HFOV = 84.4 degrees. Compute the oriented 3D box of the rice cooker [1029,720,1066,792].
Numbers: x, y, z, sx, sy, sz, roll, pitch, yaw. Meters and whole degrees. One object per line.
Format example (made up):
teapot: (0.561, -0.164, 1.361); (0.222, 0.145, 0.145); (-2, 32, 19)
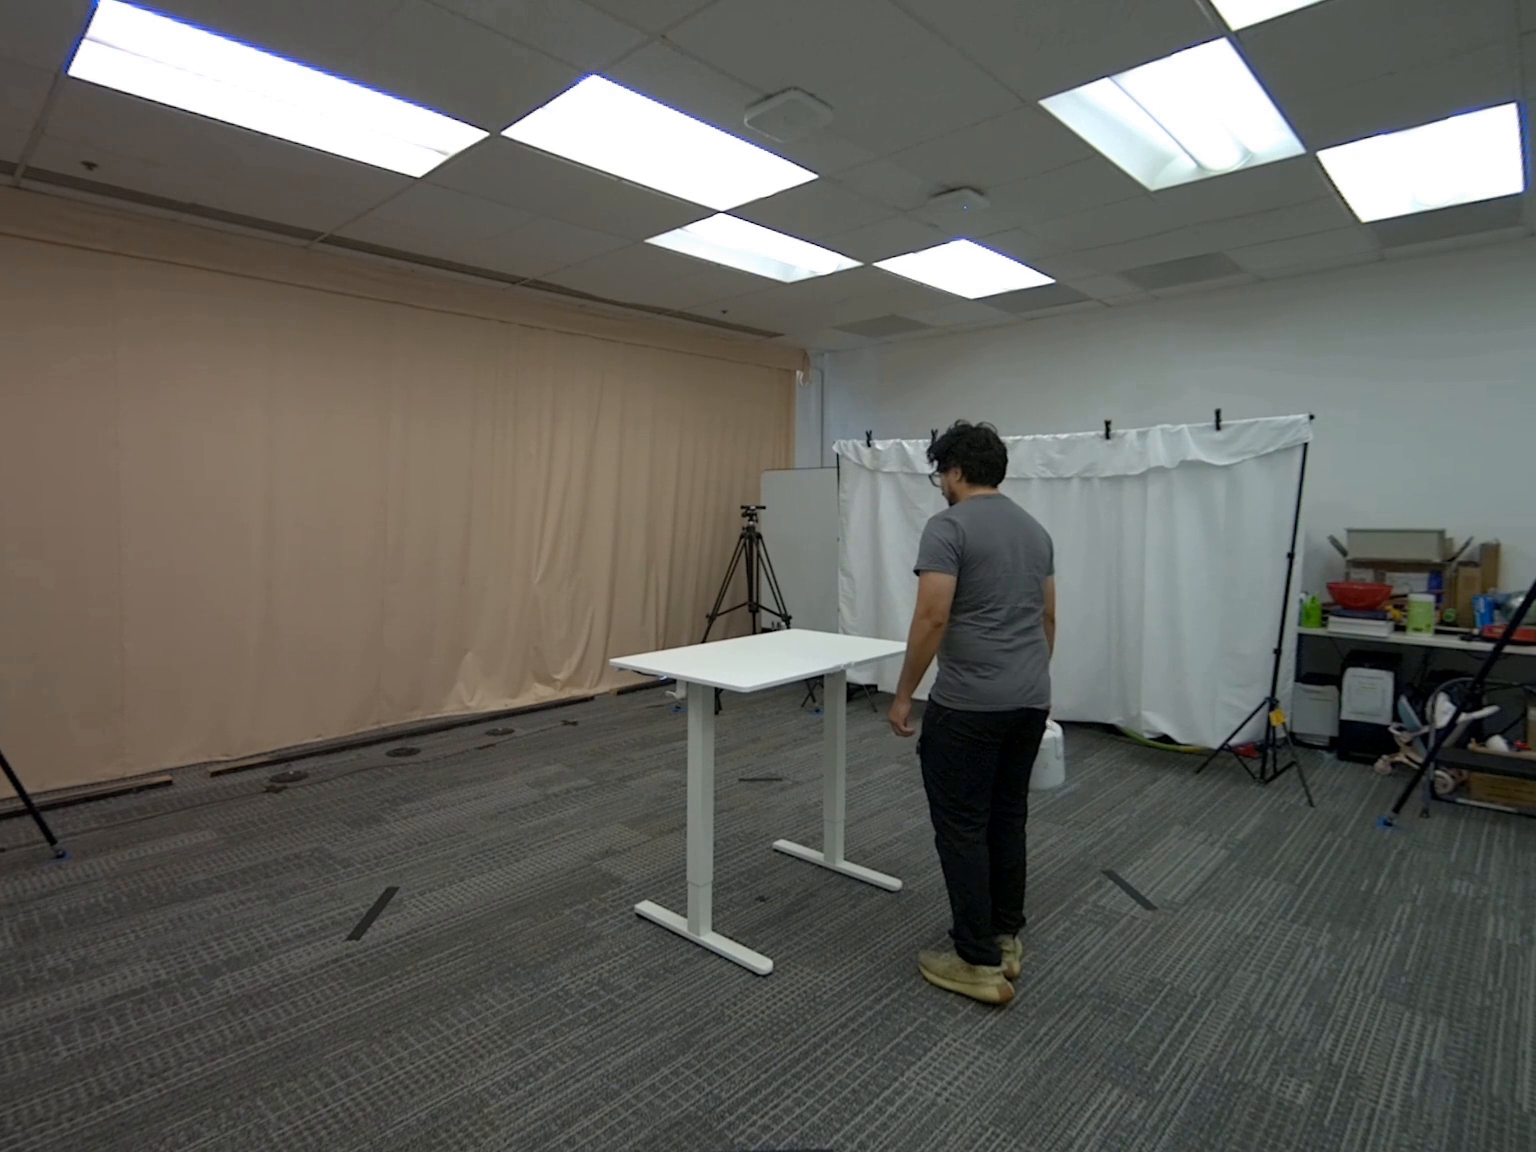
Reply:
rice cooker: (0.876, 0.575, 2.776); (0.211, 0.231, 0.228); (-11, 9, -41)
